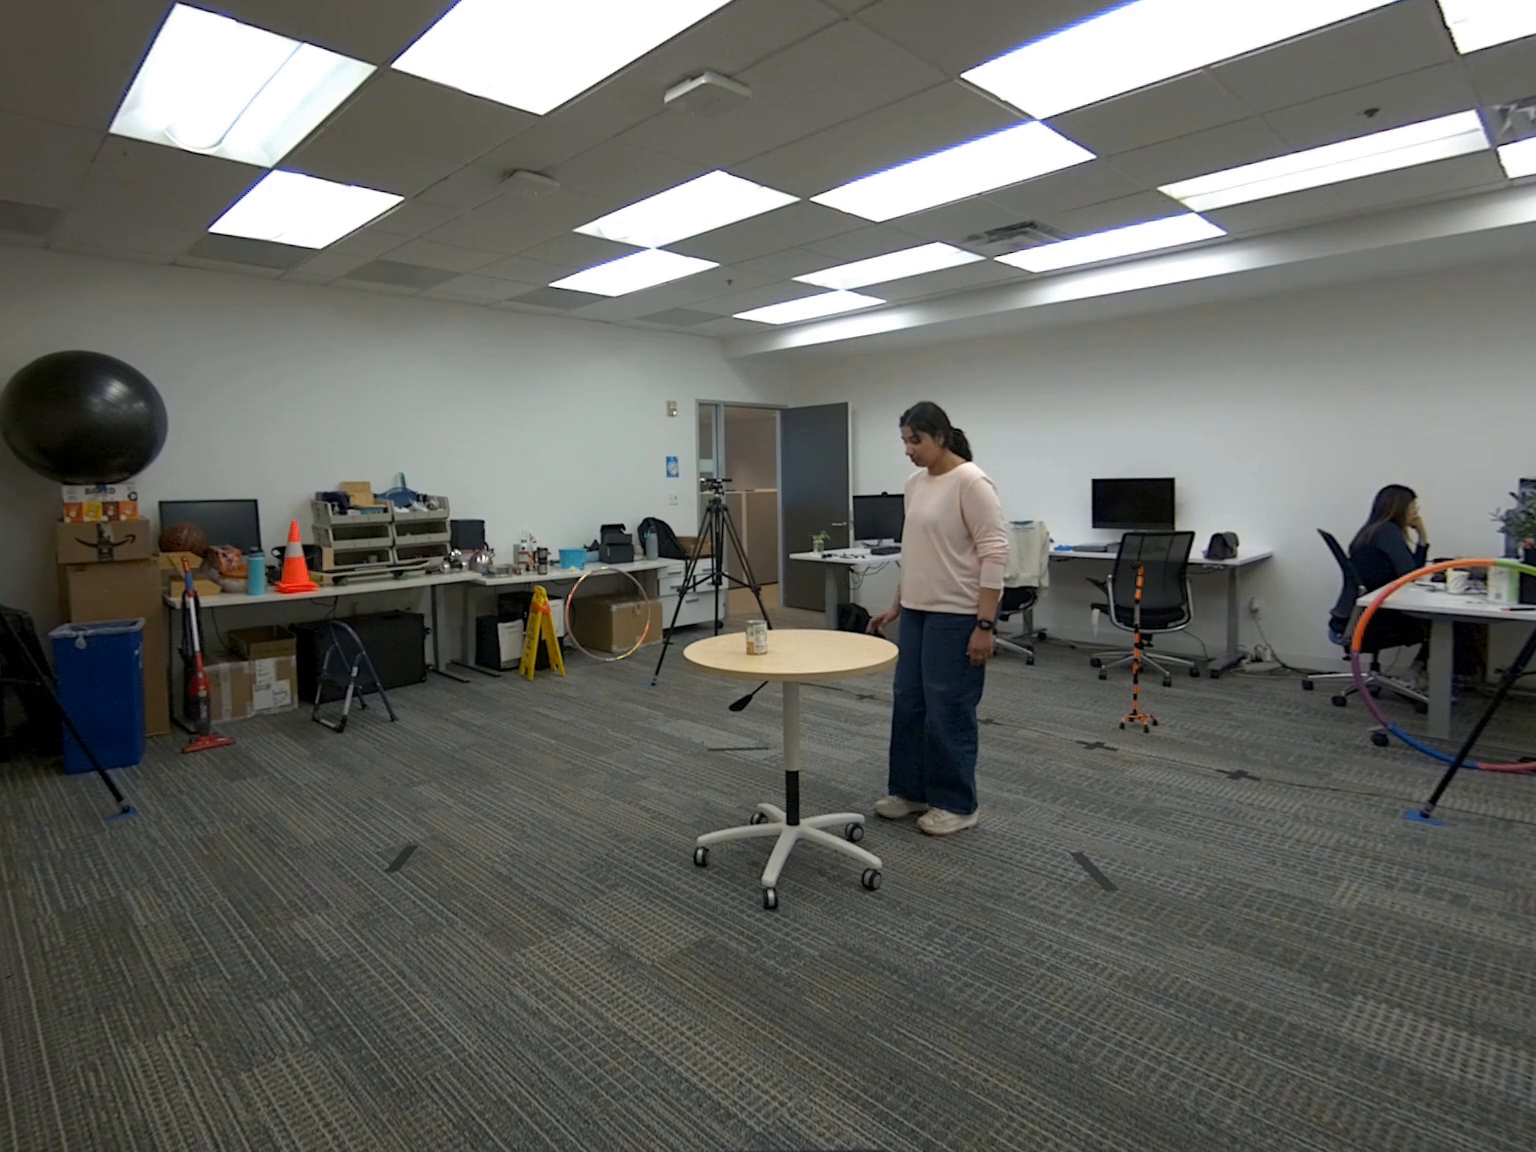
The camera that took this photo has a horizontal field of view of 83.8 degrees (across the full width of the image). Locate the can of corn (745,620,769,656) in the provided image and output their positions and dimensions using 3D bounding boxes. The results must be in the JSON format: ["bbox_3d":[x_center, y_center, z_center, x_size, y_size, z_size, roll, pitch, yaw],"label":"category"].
[{"bbox_3d":[-0.039,0.218,3.000,0.074,0.110,0.074,0,5,-2],"label":"can of corn"}]
